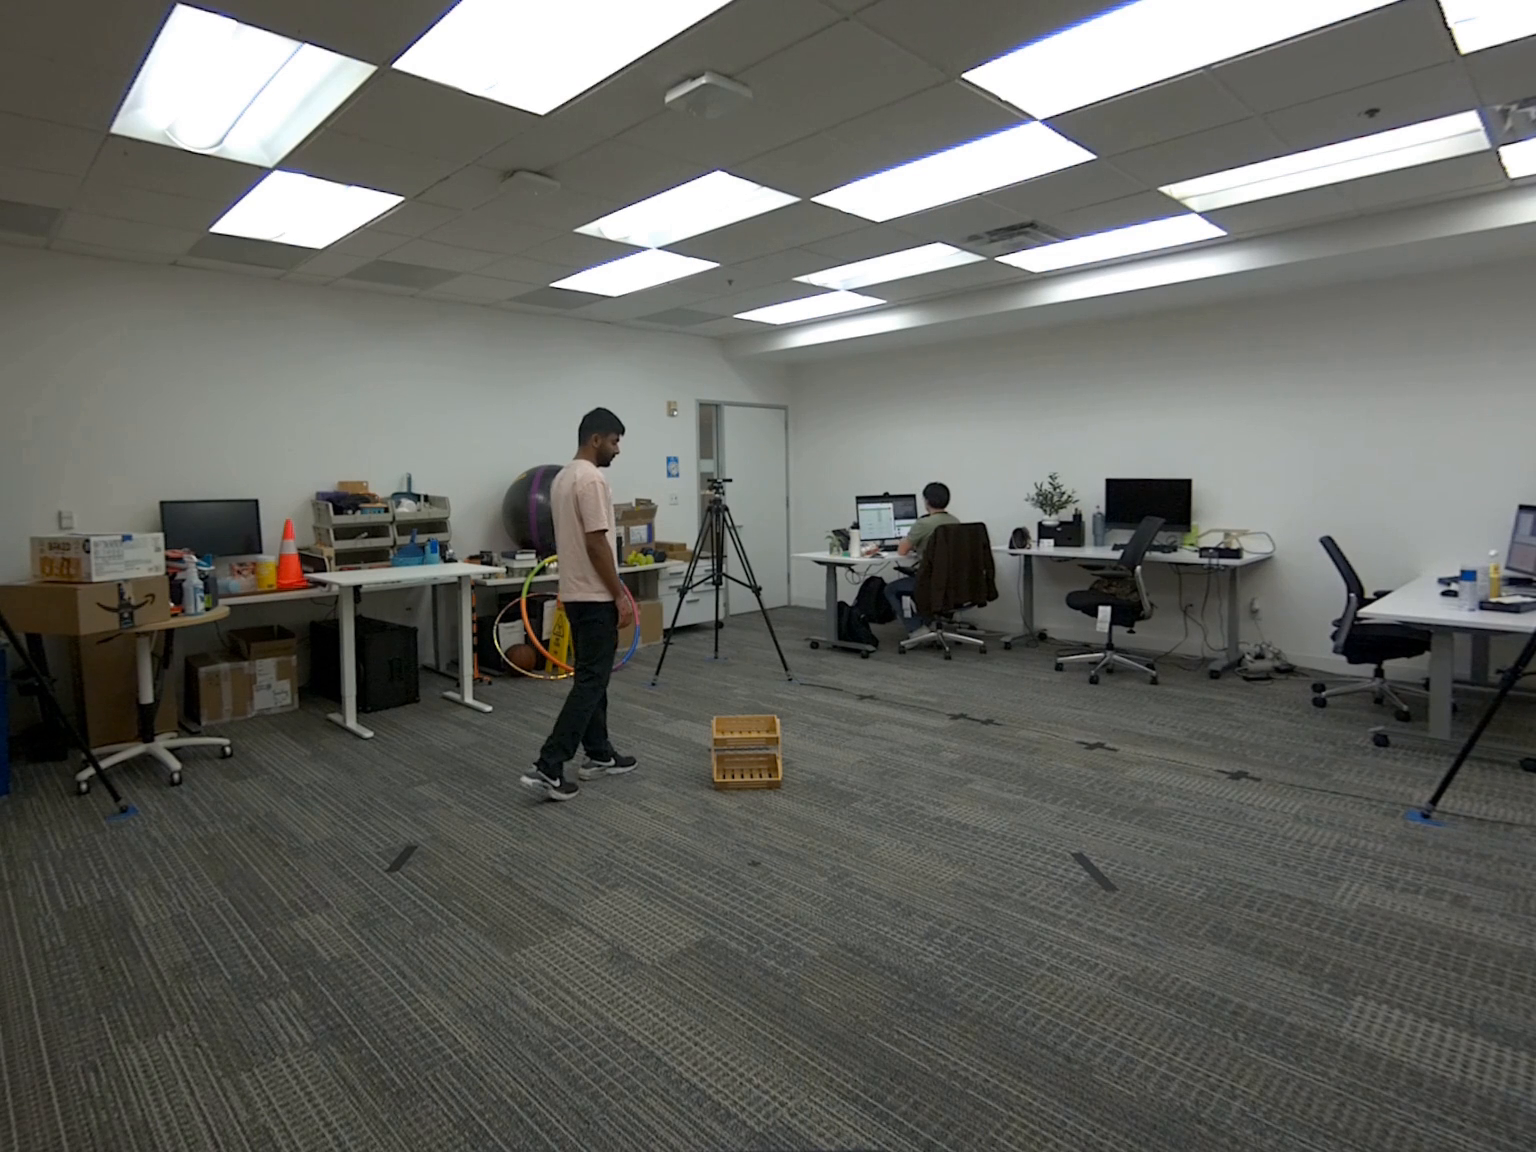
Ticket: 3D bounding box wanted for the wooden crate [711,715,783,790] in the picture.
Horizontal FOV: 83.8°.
[{"bbox_3d":[-0.104,0.810,3.976,0.324,0.272,0.303,-1,4,-2],"label":"wooden crate"}]
